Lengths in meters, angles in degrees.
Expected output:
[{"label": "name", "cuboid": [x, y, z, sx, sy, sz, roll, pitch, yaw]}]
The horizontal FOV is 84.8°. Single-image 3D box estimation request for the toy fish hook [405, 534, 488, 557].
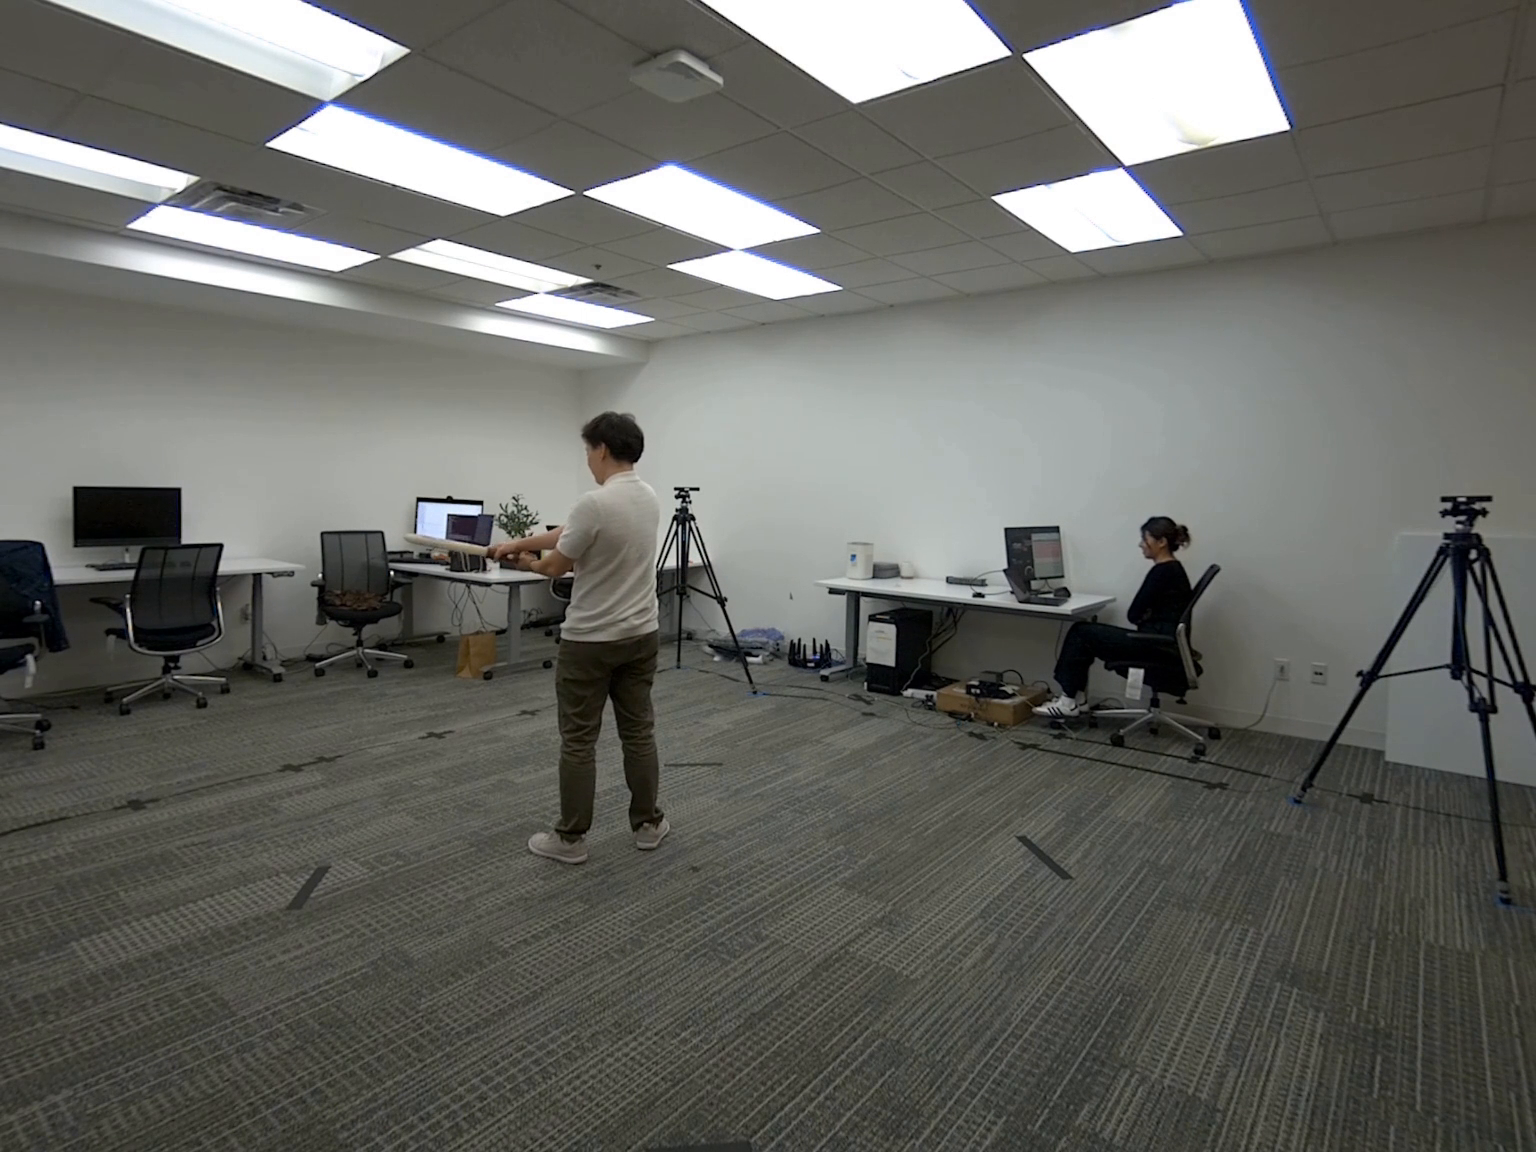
[{"label": "toy fish hook", "cuboid": [-1.158, -0.103, 3.338, 0.496, 0.048, 0.229, 14, 1, -17]}]
